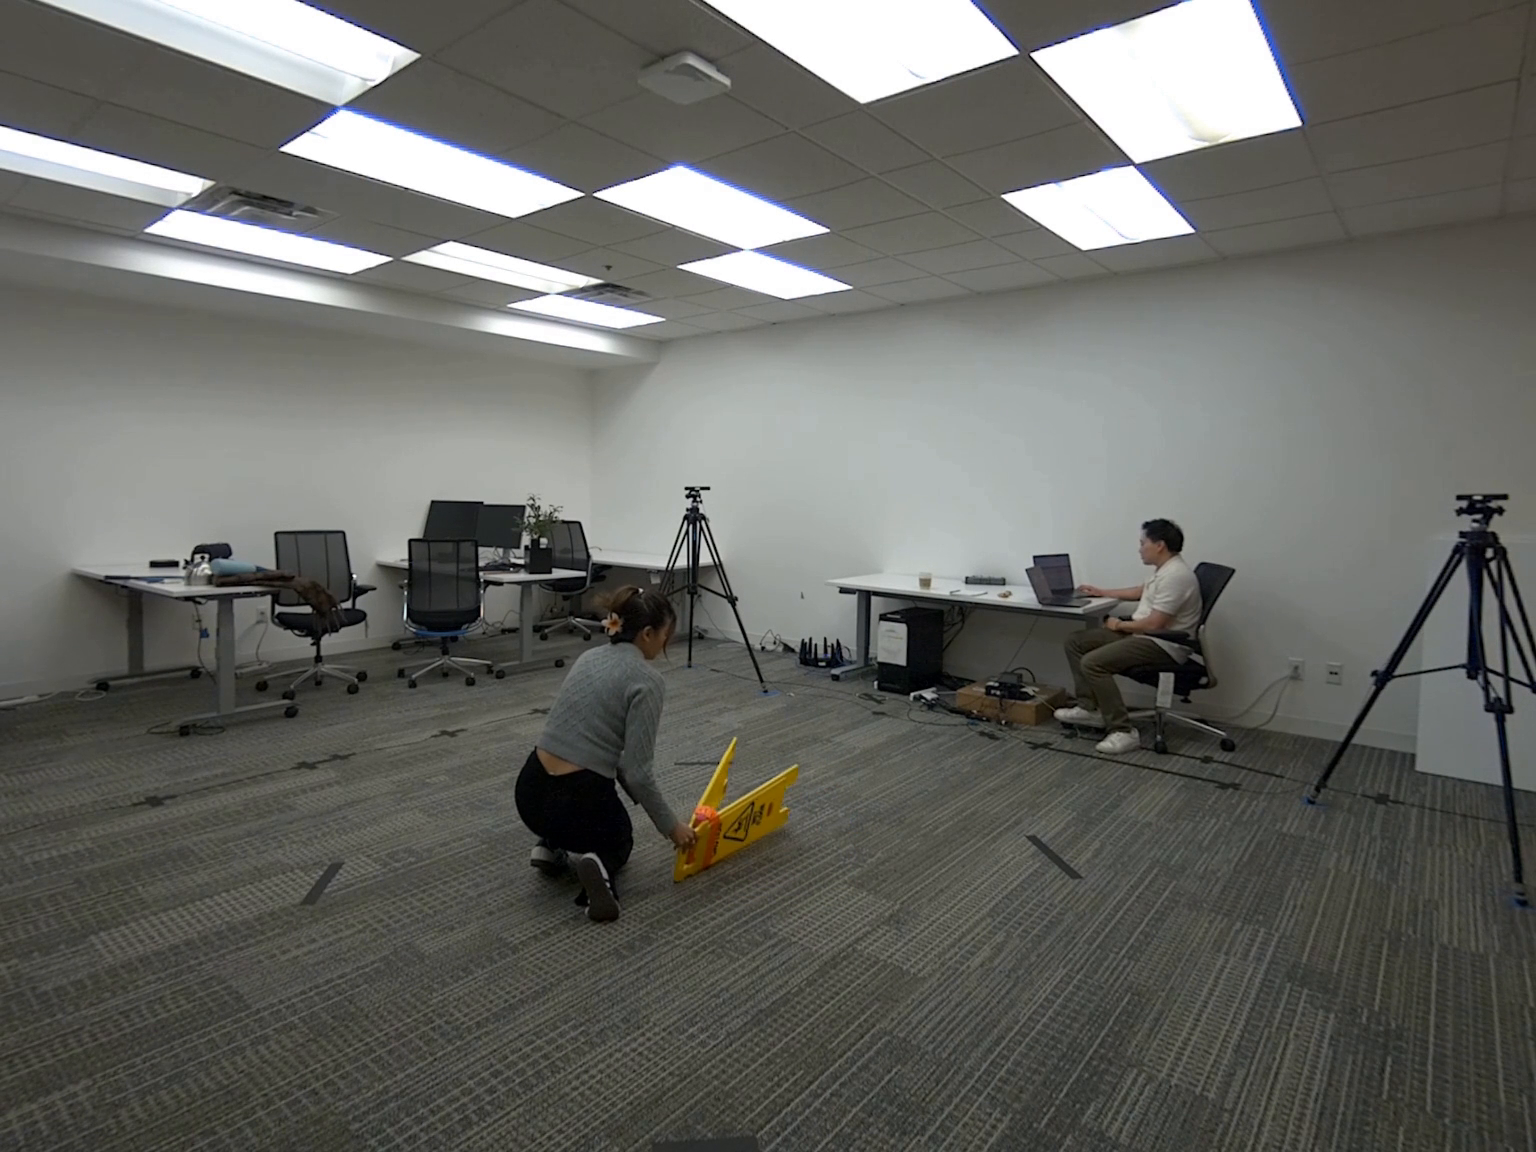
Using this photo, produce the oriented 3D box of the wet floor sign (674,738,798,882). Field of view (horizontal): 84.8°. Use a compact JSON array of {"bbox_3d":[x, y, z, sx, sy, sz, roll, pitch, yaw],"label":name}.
[{"bbox_3d":[-0.177,0.913,3.232,0.298,0.278,0.636,19,21,23],"label":"wet floor sign"}]
